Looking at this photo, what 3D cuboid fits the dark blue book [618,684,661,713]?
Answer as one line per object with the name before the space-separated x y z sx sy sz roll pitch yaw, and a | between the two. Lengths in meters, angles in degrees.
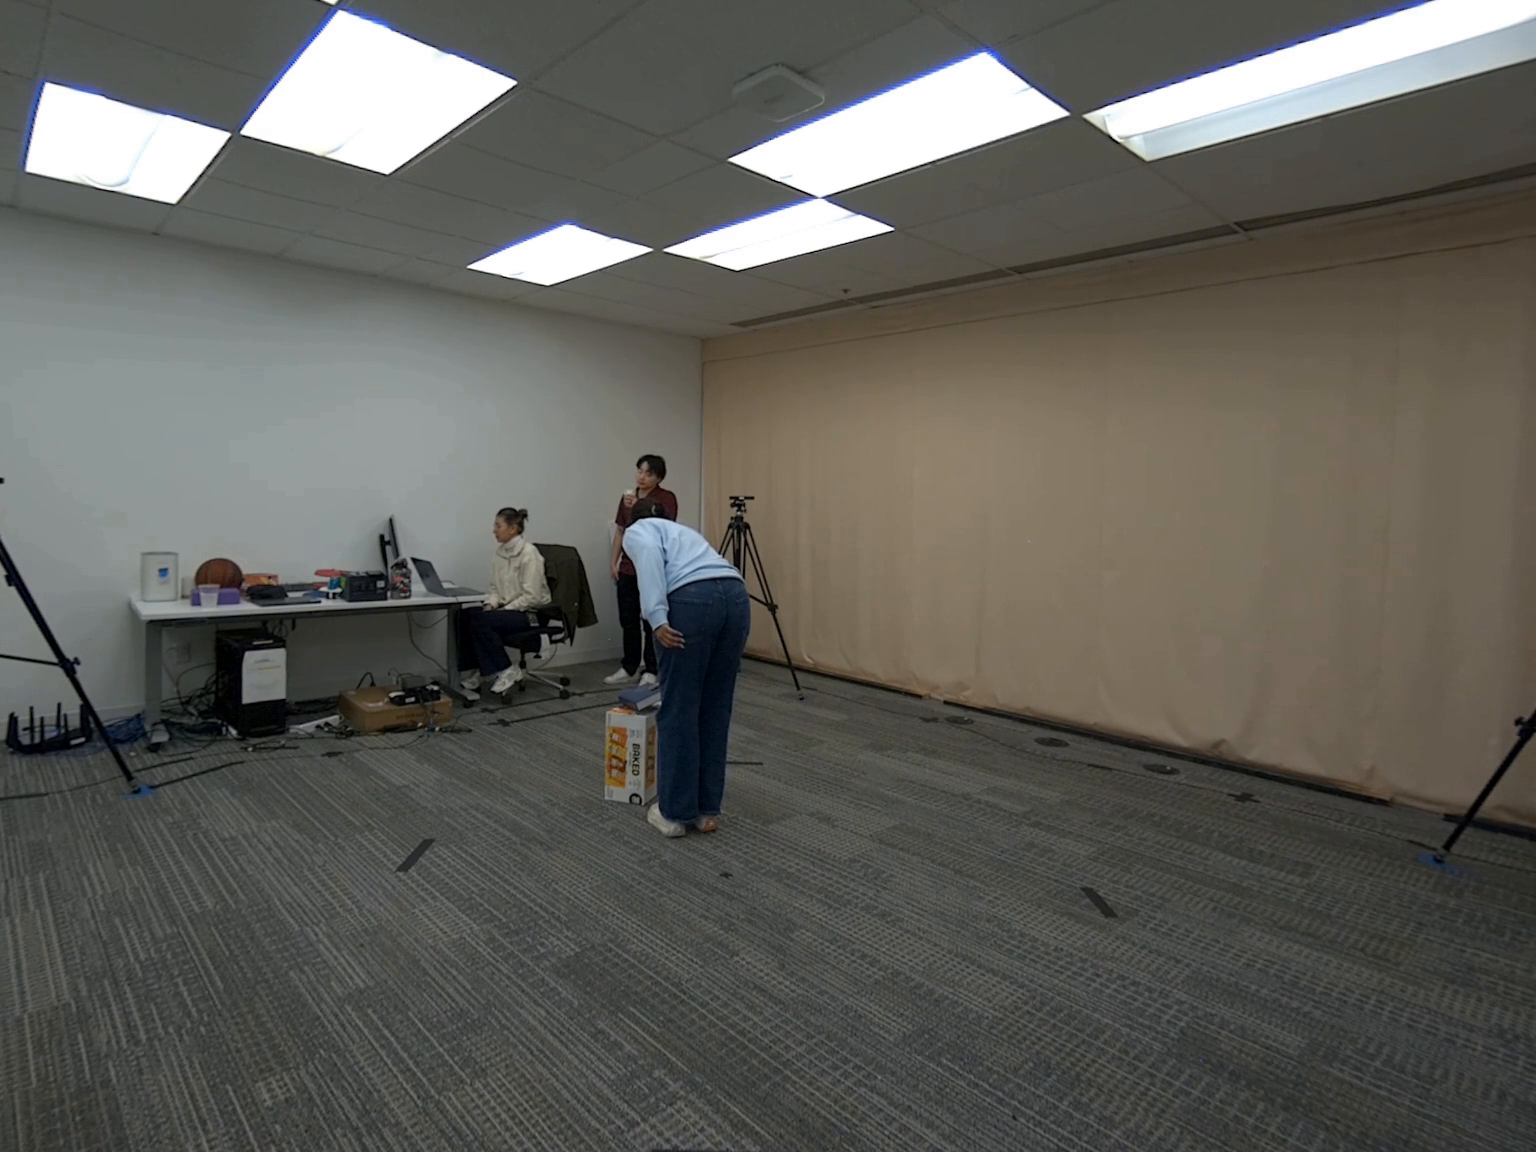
dark blue book | -0.597 0.557 3.922 0.161 0.045 0.250 -22 10 -27
